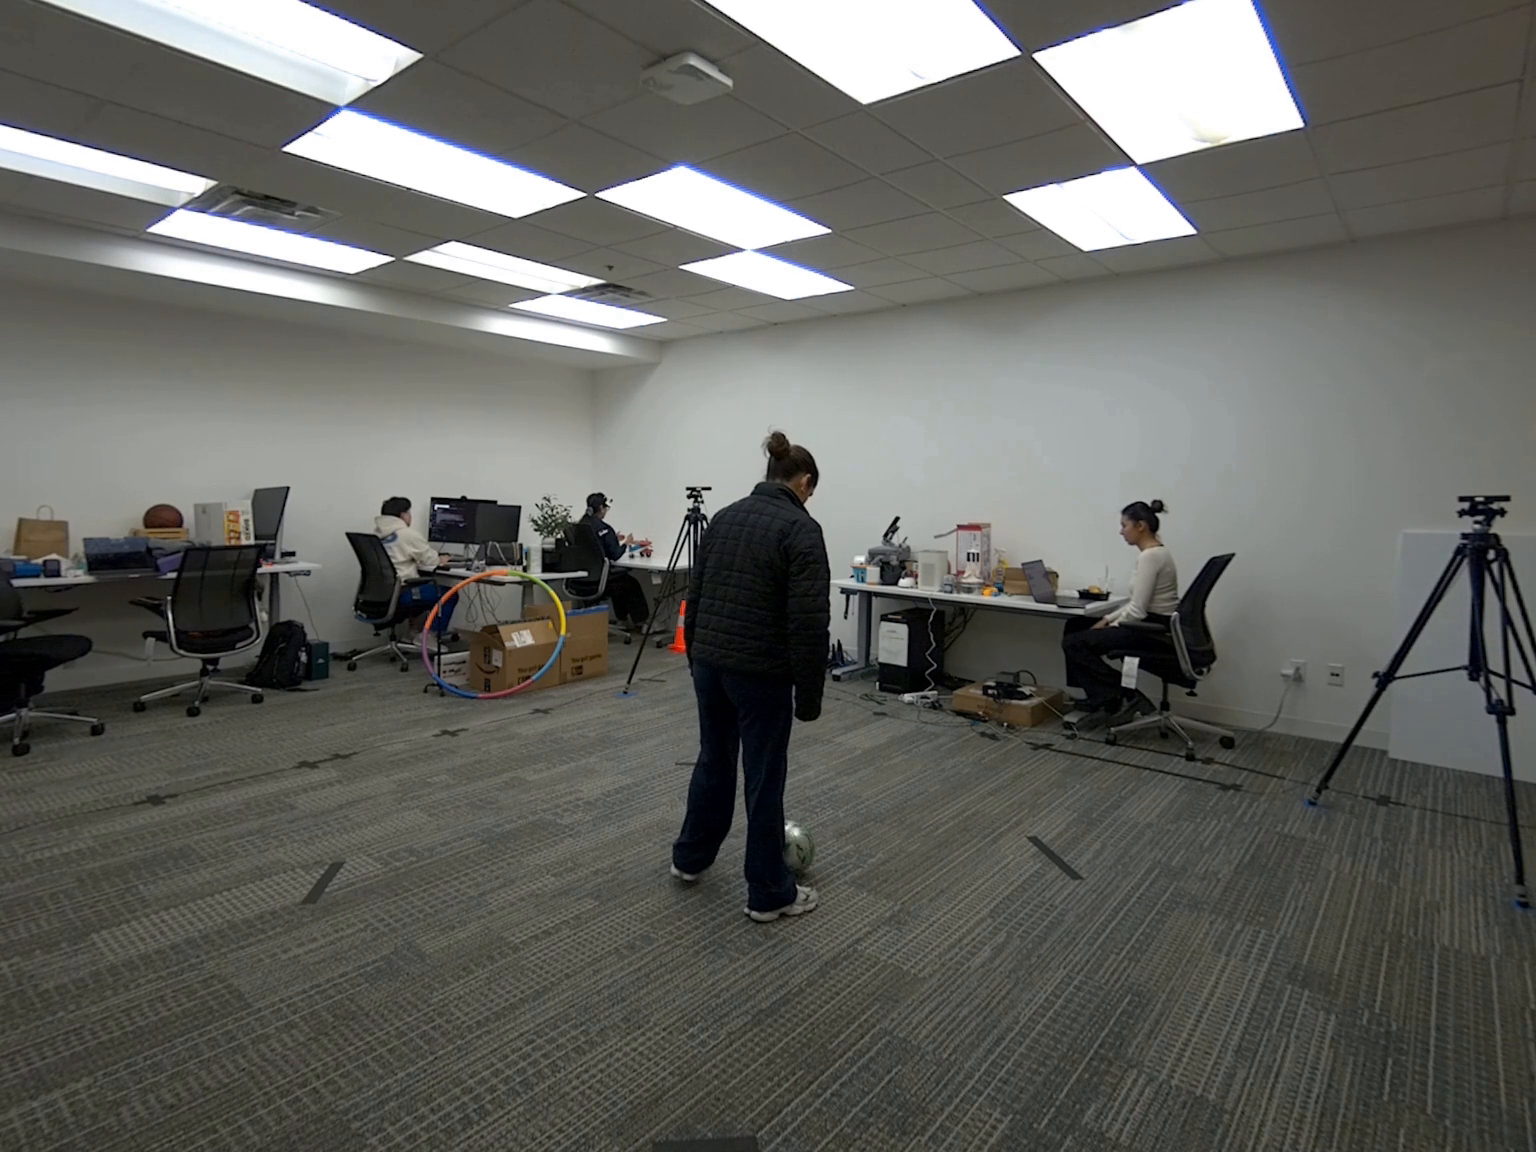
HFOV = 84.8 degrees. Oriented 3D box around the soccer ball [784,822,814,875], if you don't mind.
[{"bbox_3d":[0.068,0.981,3.077,0.187,0.187,0.188,1,4,-2],"label":"soccer ball"}]
